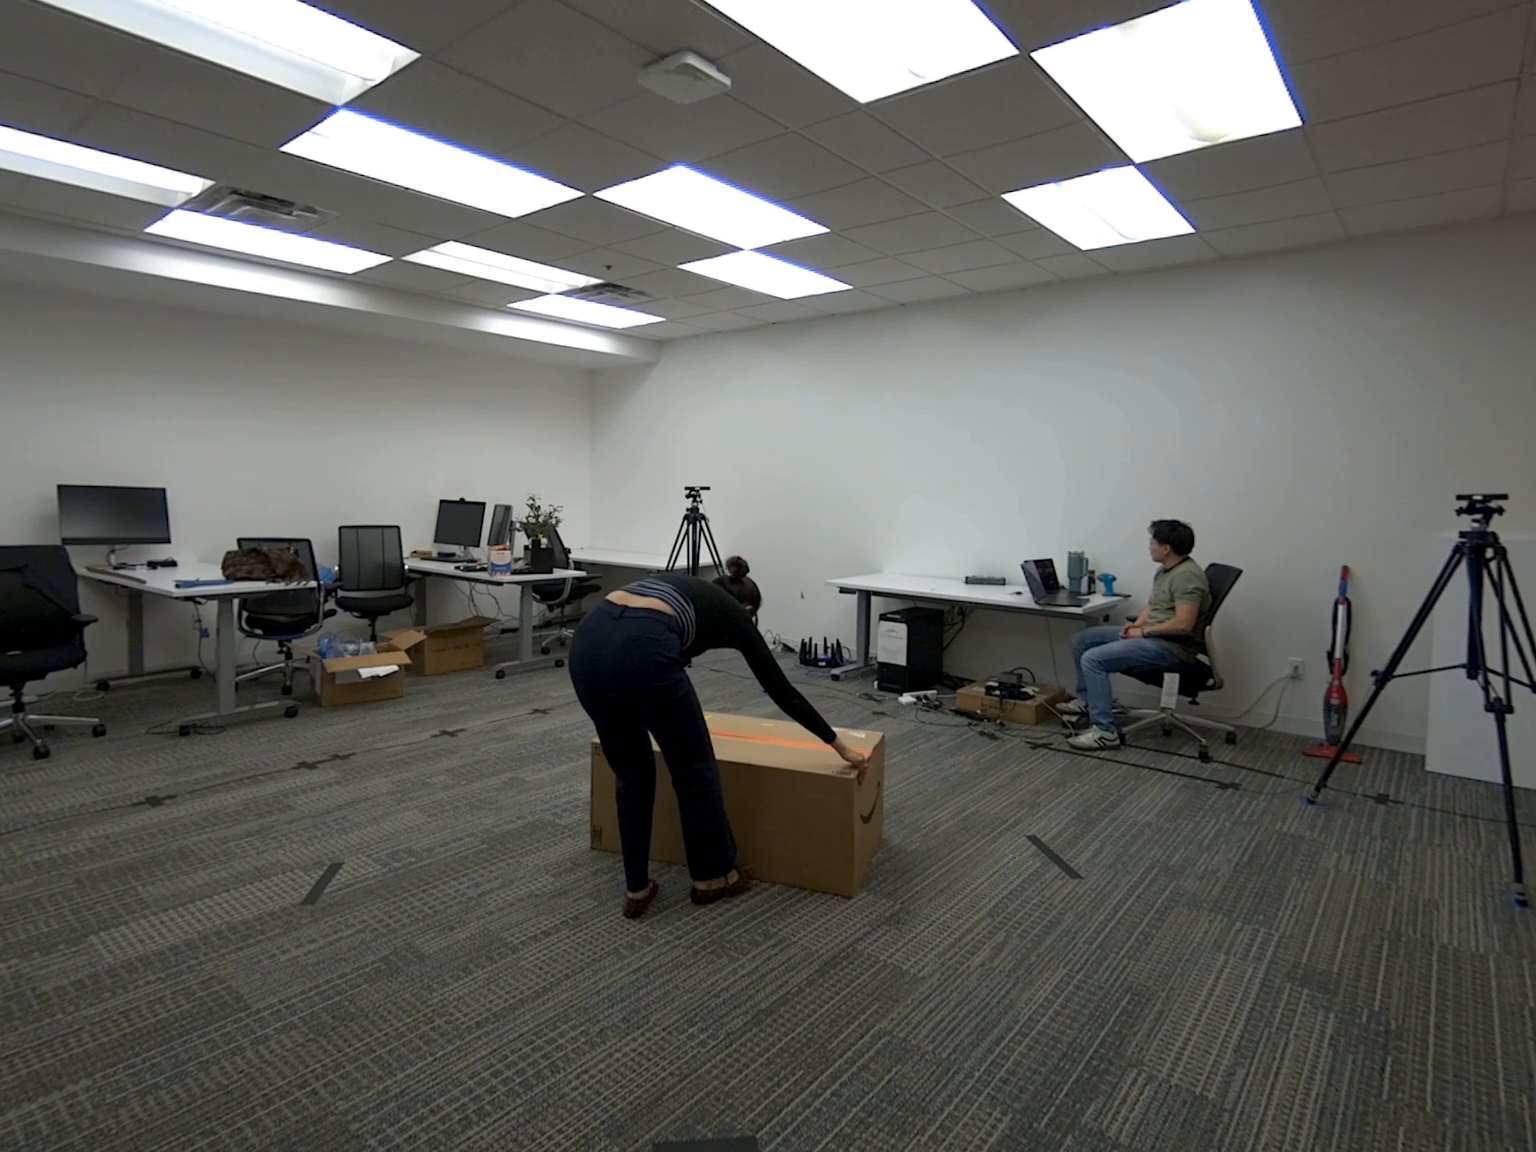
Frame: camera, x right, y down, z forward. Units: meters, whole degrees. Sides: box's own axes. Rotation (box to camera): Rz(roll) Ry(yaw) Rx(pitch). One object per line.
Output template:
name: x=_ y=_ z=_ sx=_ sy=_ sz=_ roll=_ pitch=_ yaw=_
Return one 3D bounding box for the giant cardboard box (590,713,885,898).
giant cardboard box: x=-0.114 y=0.829 z=3.326 sx=1.048 sy=0.425 sz=0.567 roll=3 pitch=5 yaw=20
